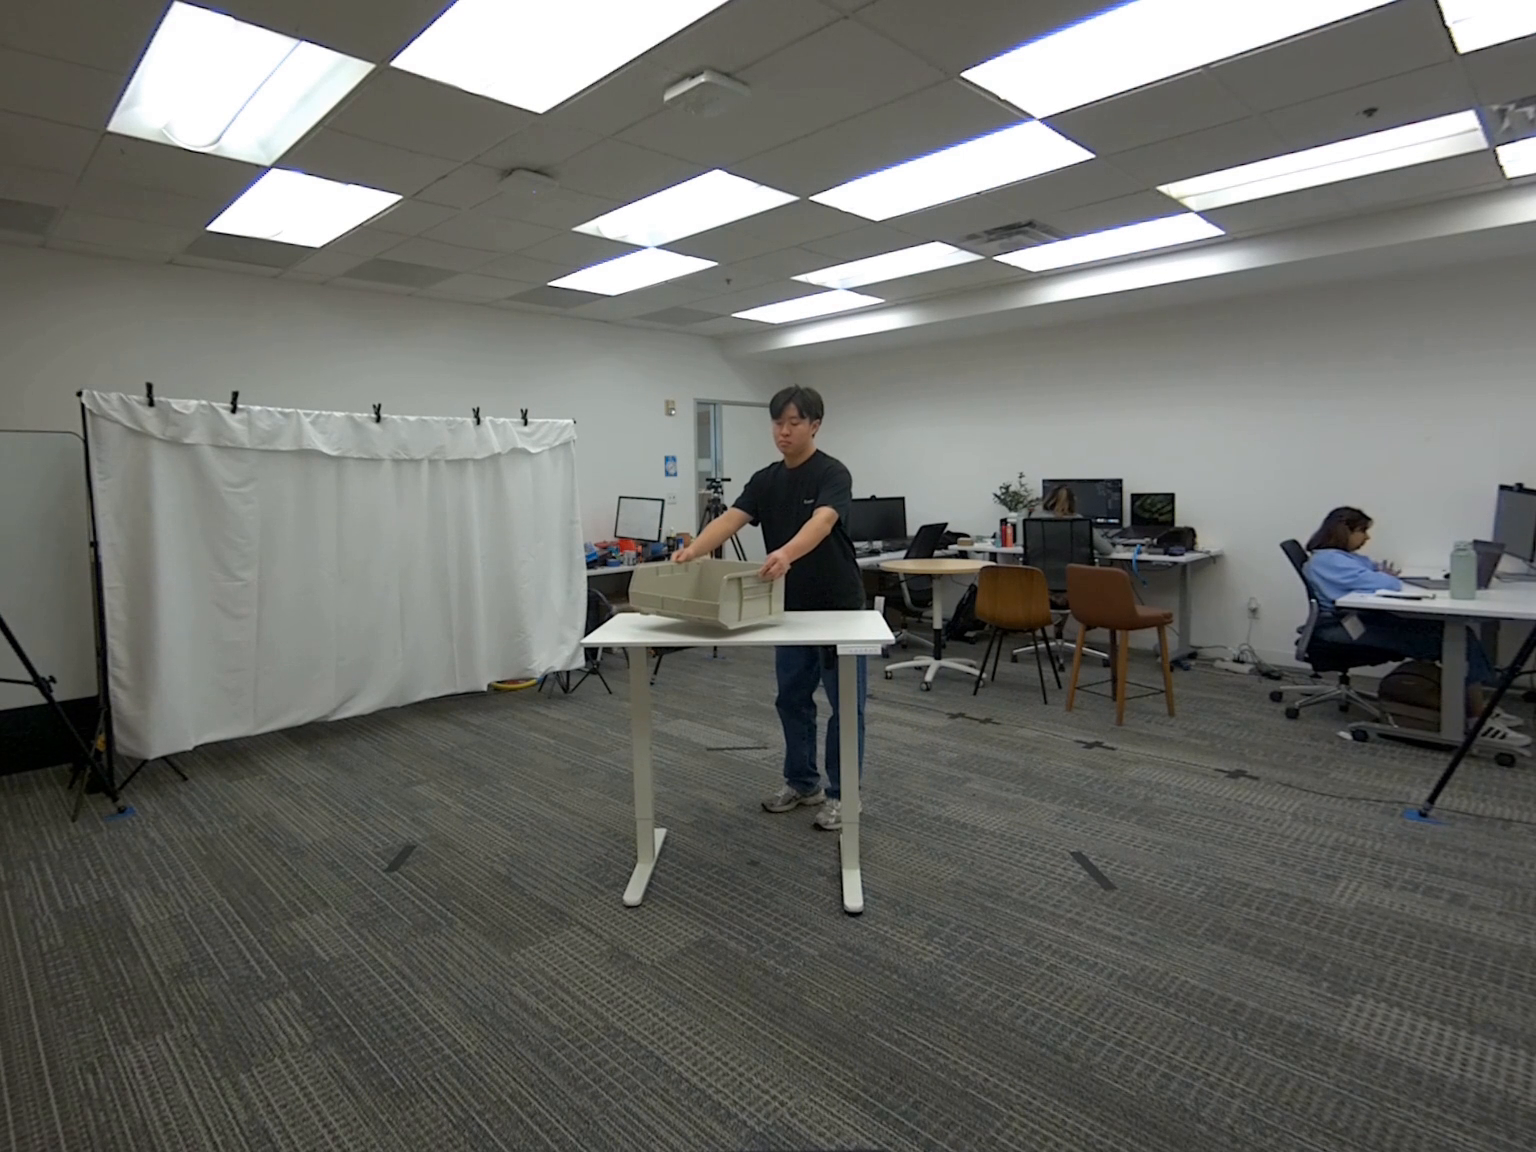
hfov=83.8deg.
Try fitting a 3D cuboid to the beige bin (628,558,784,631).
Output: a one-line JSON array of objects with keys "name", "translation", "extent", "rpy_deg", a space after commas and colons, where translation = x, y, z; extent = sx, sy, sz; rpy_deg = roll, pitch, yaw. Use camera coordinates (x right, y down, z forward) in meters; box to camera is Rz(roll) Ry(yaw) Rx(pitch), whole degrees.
[{"name": "beige bin", "translation": [-0.204, 0.058, 2.960], "extent": [0.435, 0.188, 0.367], "rpy_deg": [5, 7, 39]}]
